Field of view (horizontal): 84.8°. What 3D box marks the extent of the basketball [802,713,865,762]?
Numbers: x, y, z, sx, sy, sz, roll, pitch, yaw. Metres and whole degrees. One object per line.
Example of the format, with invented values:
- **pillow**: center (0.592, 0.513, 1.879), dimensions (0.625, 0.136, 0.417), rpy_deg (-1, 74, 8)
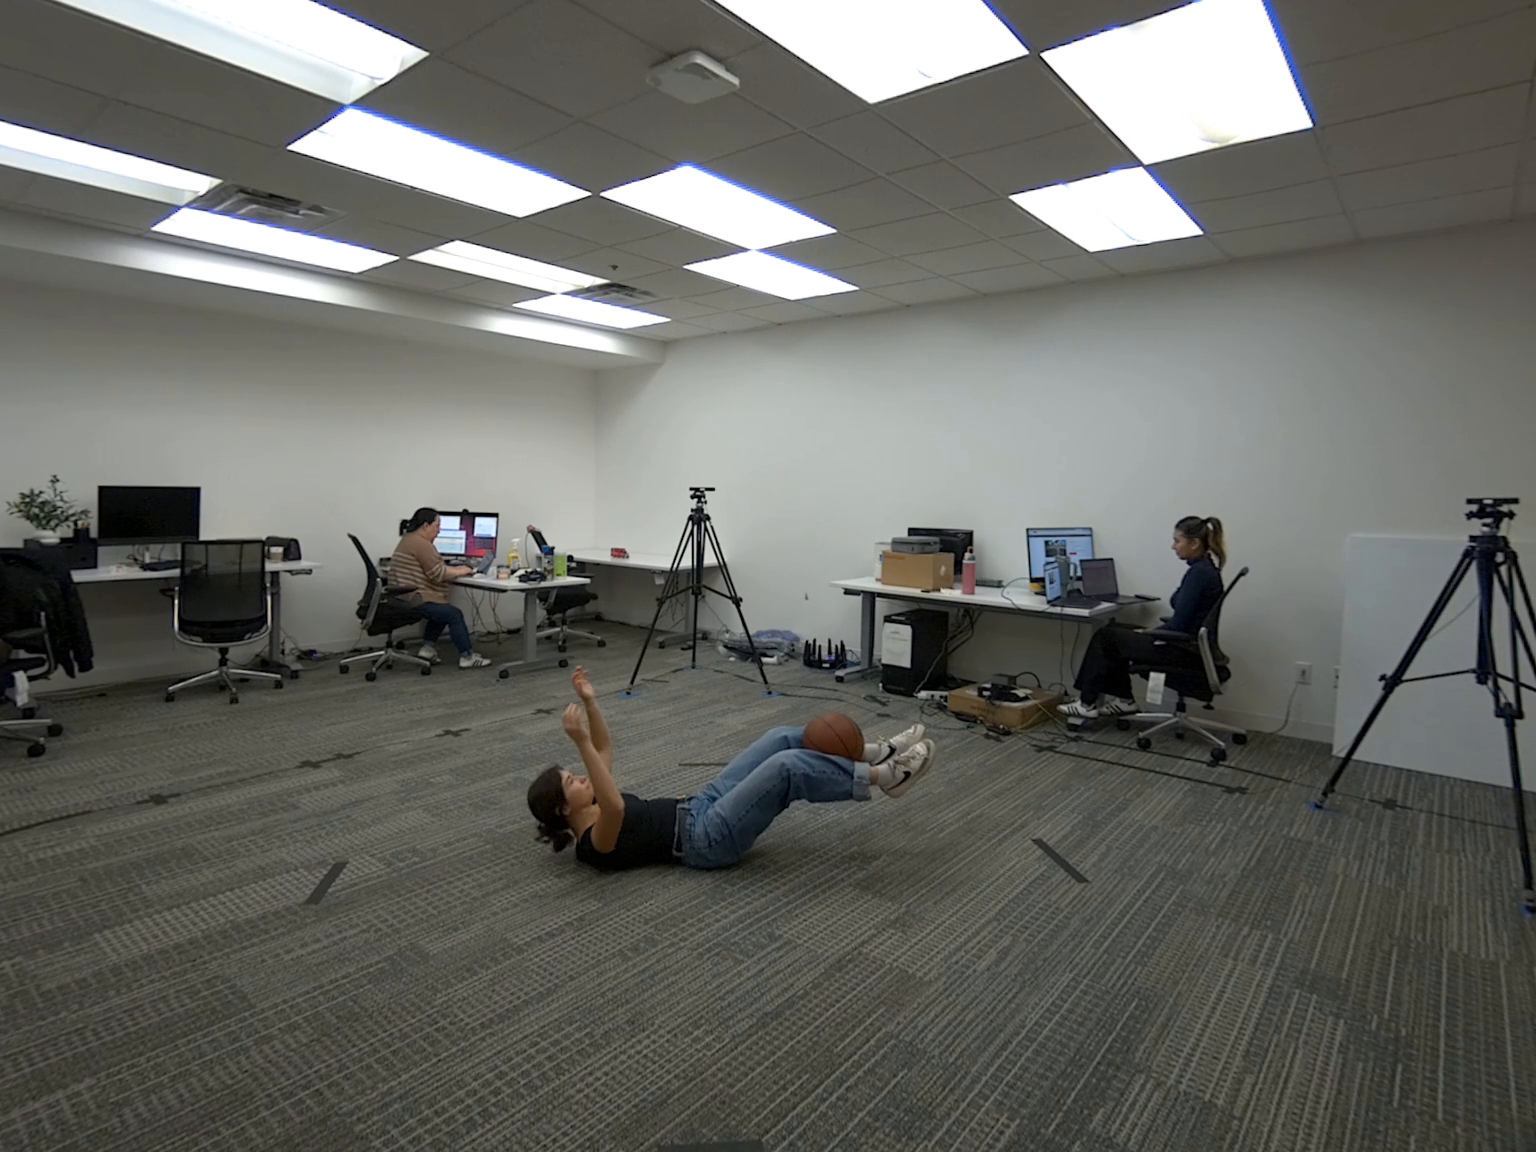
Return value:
- **basketball**: center (0.245, 0.641, 3.267), dimensions (0.235, 0.235, 0.237), rpy_deg (1, 4, -2)
